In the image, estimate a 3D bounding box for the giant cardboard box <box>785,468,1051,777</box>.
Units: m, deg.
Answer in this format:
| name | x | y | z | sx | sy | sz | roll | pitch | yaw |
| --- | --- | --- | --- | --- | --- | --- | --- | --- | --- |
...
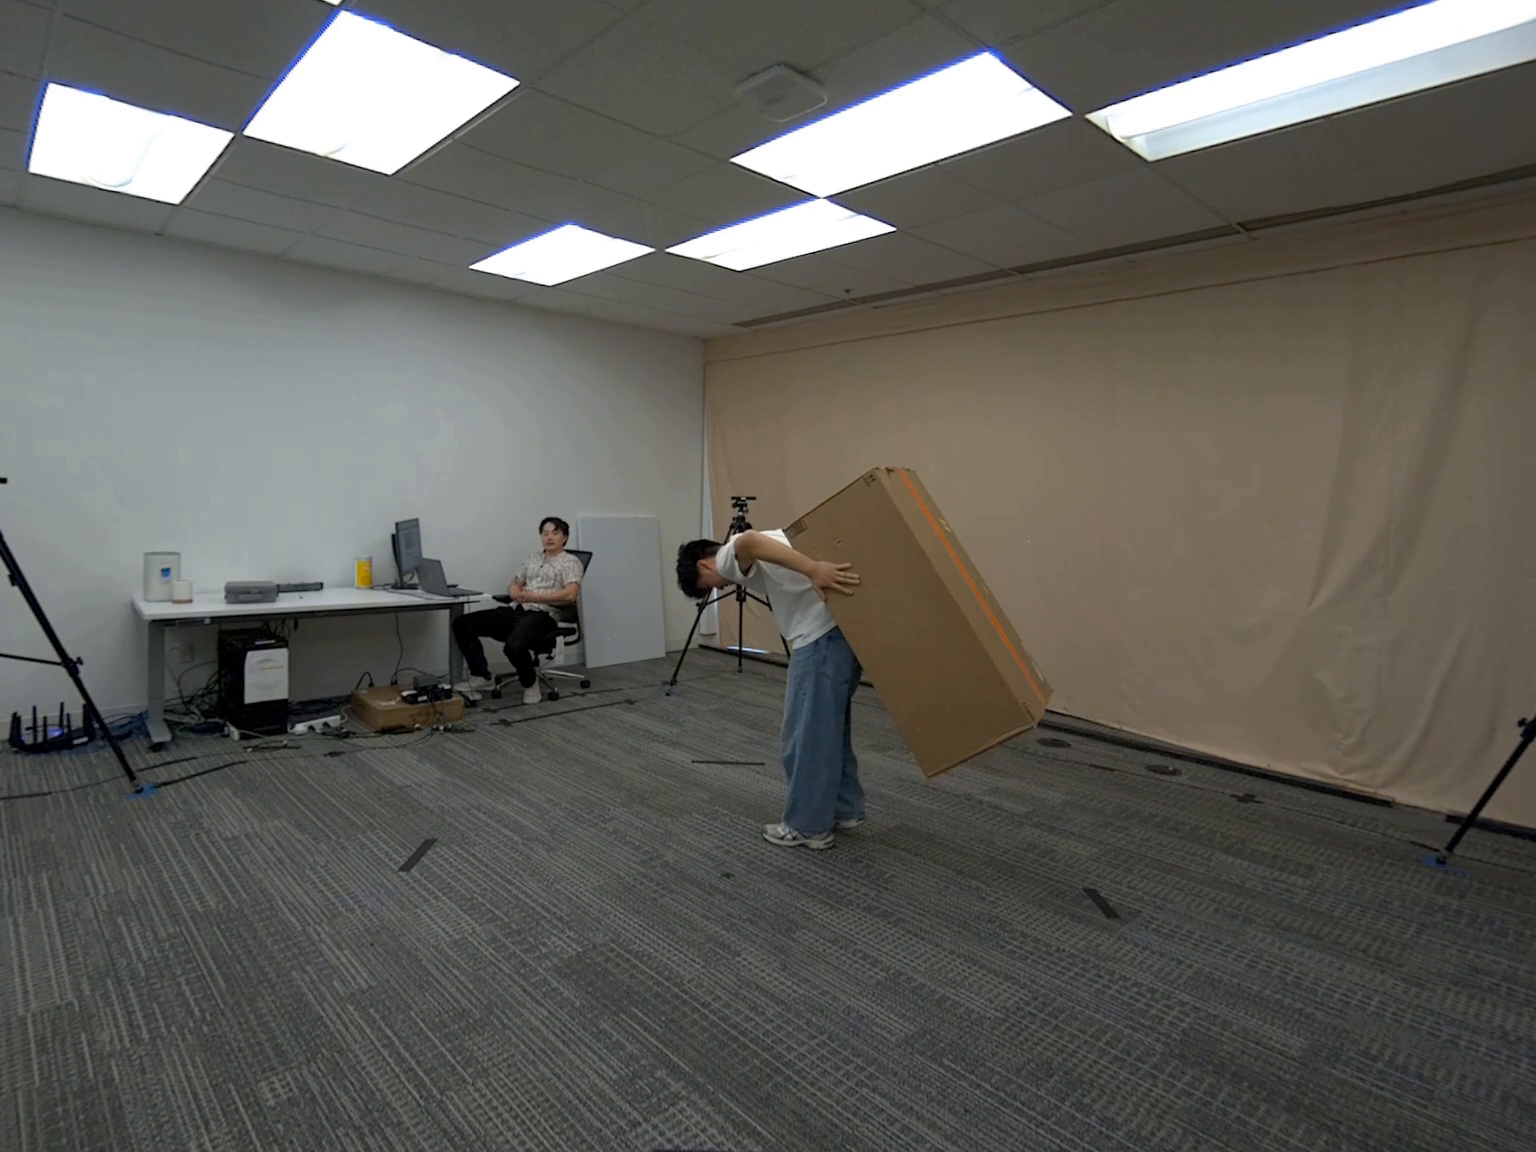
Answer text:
| name | x | y | z | sx | sy | sz | roll | pitch | yaw |
| --- | --- | --- | --- | --- | --- | --- | --- | --- | --- |
| giant cardboard box | 0.574 | 0.143 | 3.182 | 0.428 | 1.037 | 0.568 | -34 | -11 | 23 |
